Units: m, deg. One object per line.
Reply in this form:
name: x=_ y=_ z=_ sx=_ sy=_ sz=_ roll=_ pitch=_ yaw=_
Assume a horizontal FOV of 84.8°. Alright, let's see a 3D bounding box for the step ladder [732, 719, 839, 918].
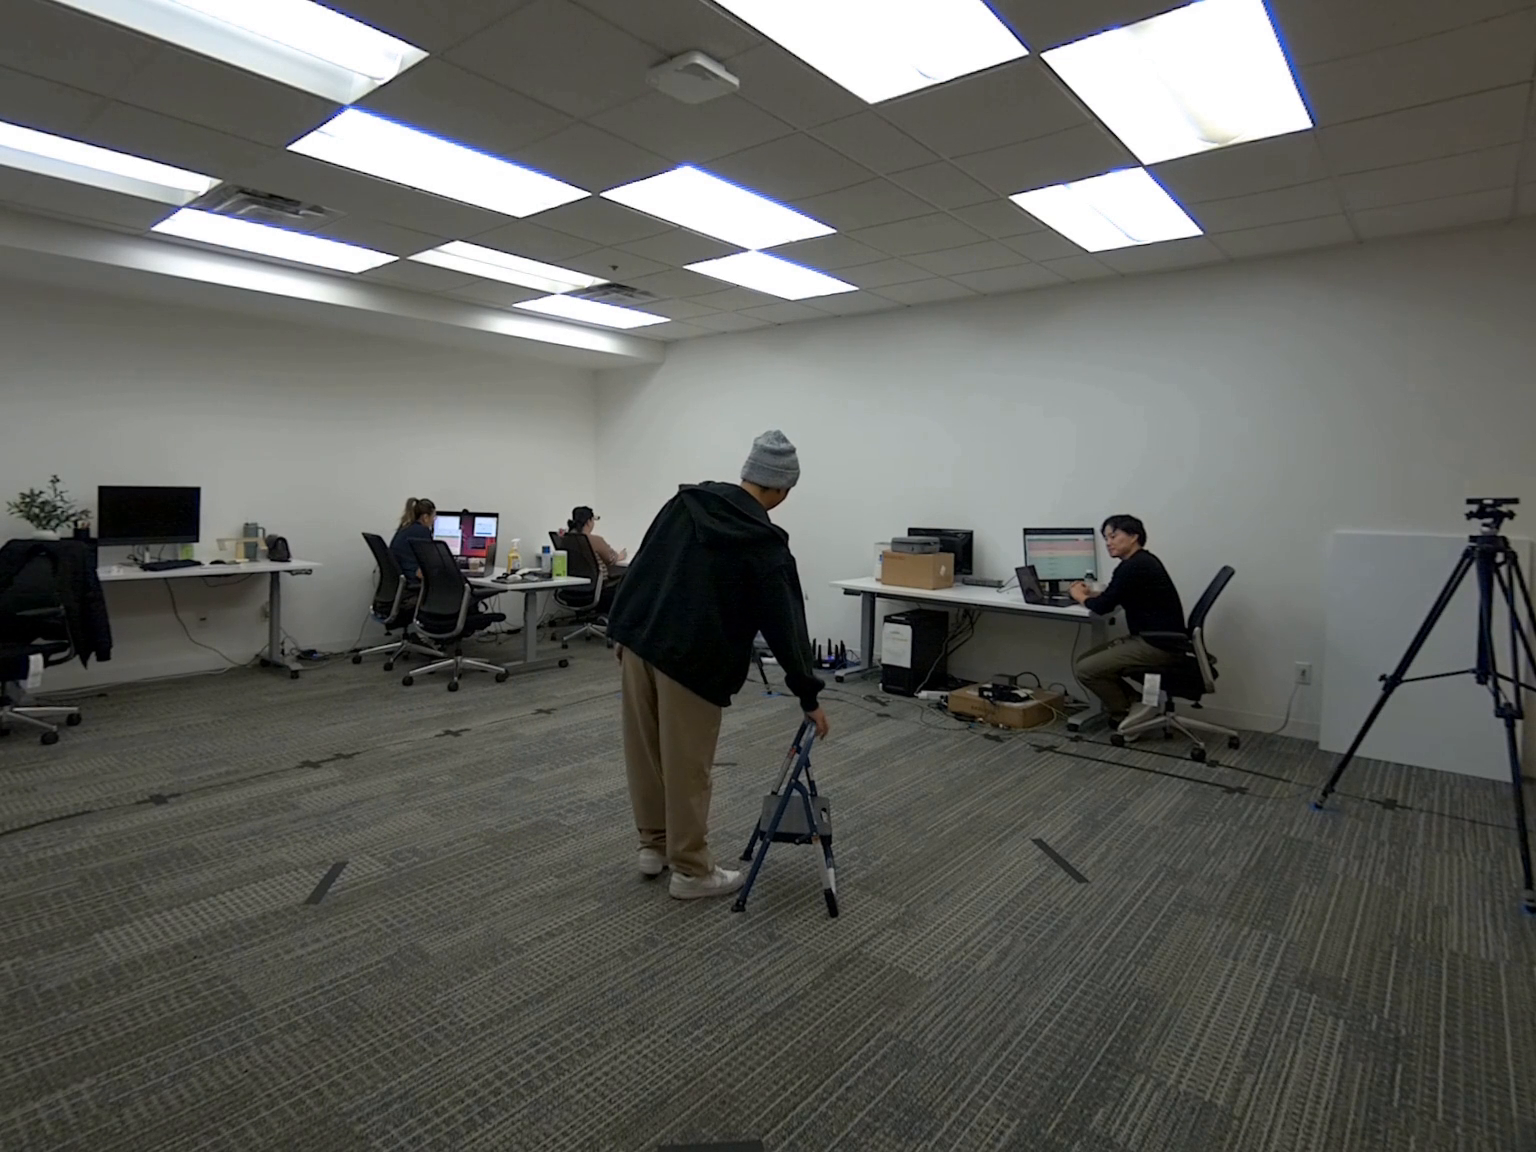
step ladder: x=0.068 y=0.786 z=2.966 sx=0.351 sy=0.605 sz=0.430 roll=1 pitch=3 yaw=3
